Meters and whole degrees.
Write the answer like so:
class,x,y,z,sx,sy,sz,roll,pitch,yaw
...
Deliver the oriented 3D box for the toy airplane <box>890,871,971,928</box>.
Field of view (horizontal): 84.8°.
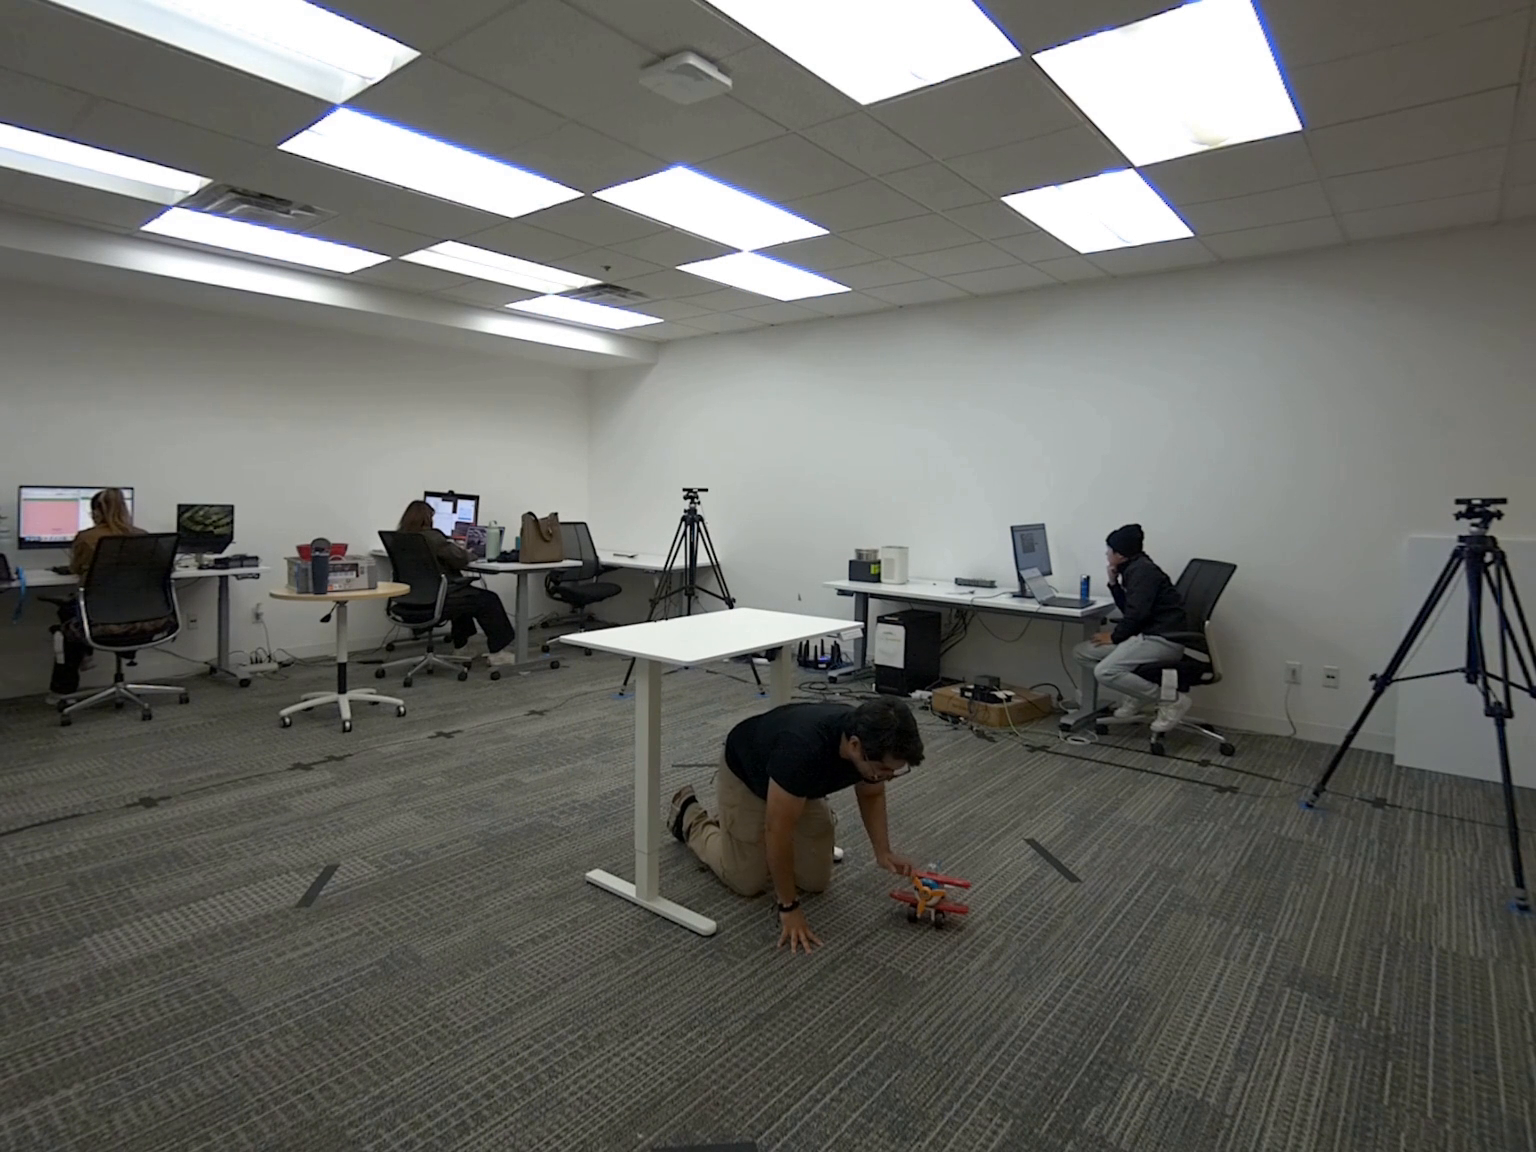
class,x,y,z,sx,sy,sz,roll,pitch,yaw
toy airplane,0.520,1.041,2.828,0.250,0.155,0.262,2,7,-6
